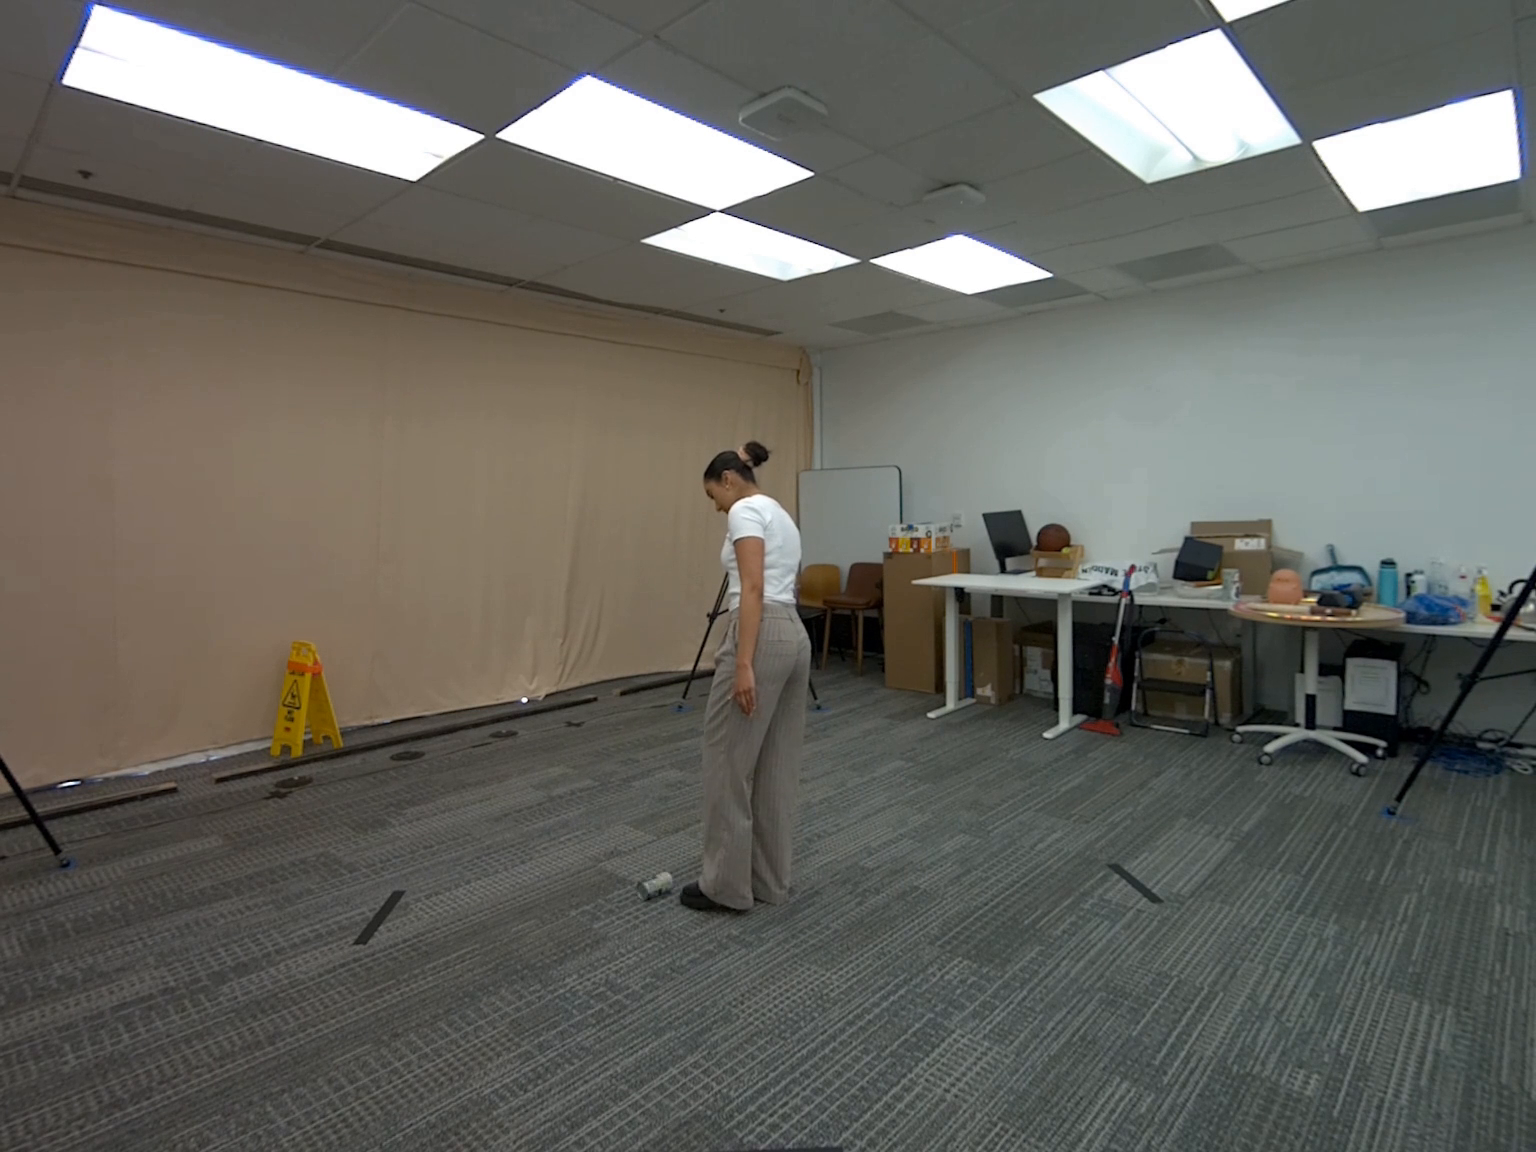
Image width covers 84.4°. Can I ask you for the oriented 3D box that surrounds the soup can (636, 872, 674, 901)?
[{"bbox_3d":[-0.401,1.113,3.019,0.069,0.067,0.118,3,8,42],"label":"soup can"}]
